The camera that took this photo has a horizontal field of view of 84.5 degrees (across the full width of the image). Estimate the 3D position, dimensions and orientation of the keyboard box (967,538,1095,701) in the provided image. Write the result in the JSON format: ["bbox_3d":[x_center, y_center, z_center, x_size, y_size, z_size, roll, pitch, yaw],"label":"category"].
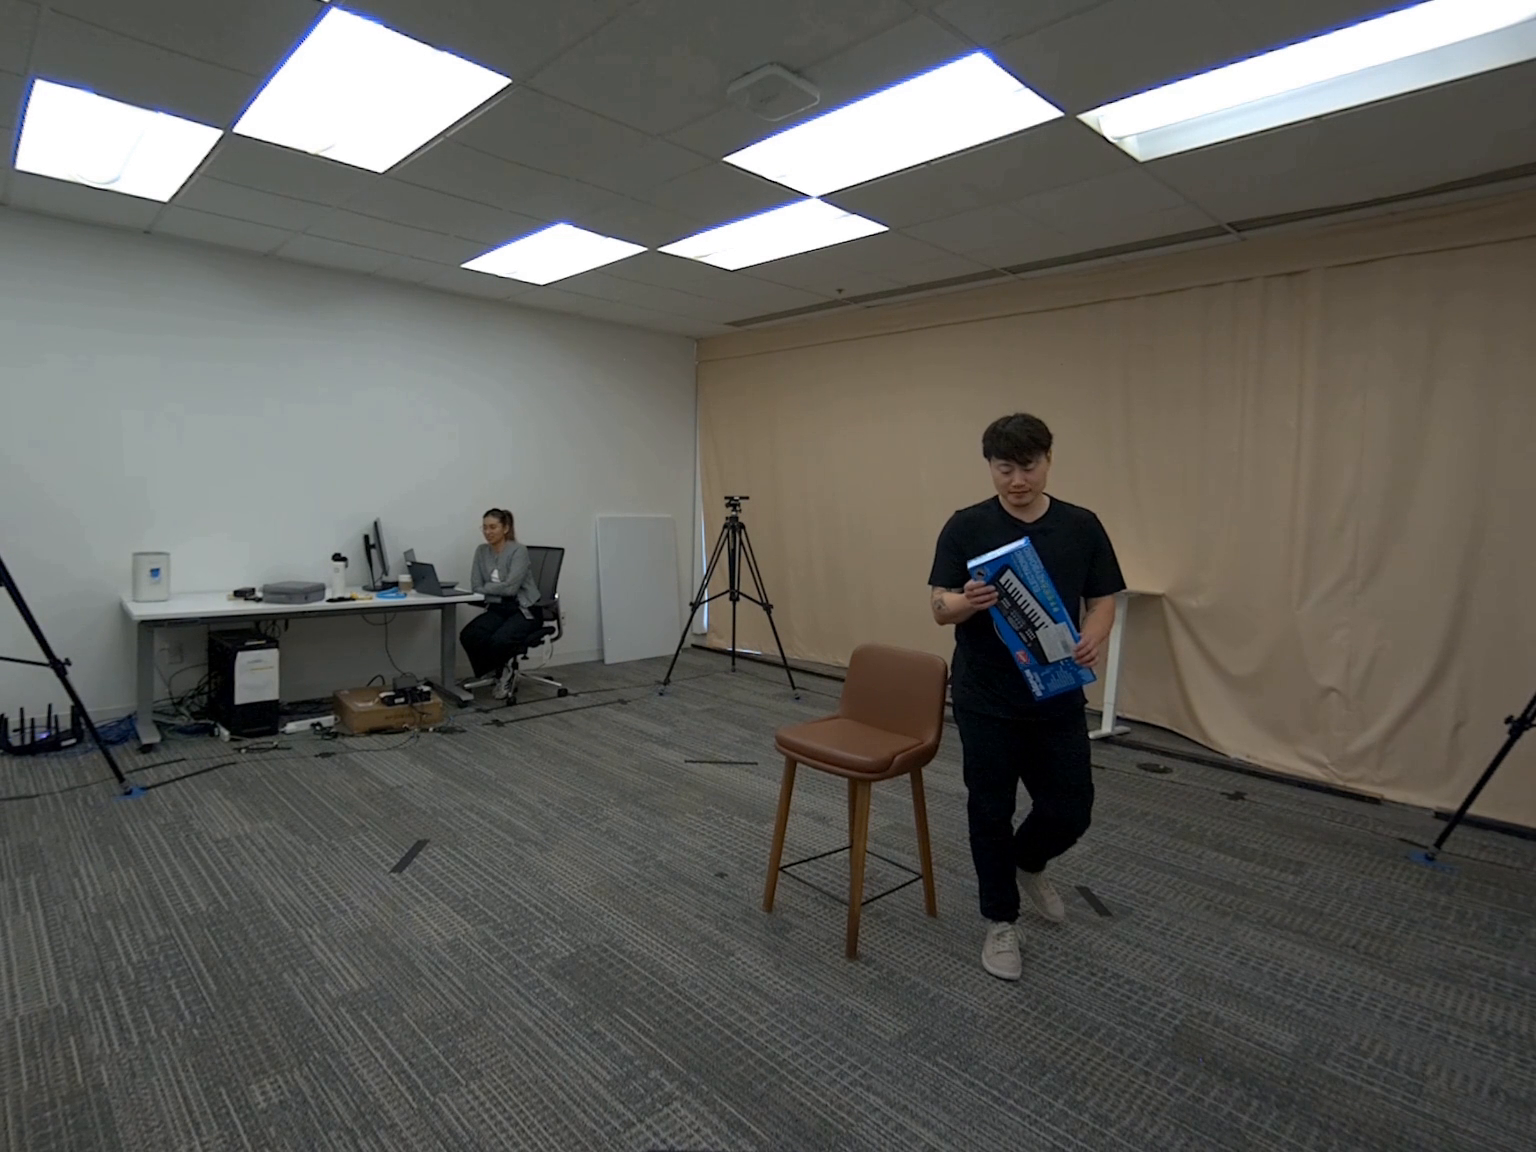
[{"bbox_3d":[0.713,0.124,2.275,0.177,0.431,0.059,-24,13,20],"label":"keyboard box"}]
